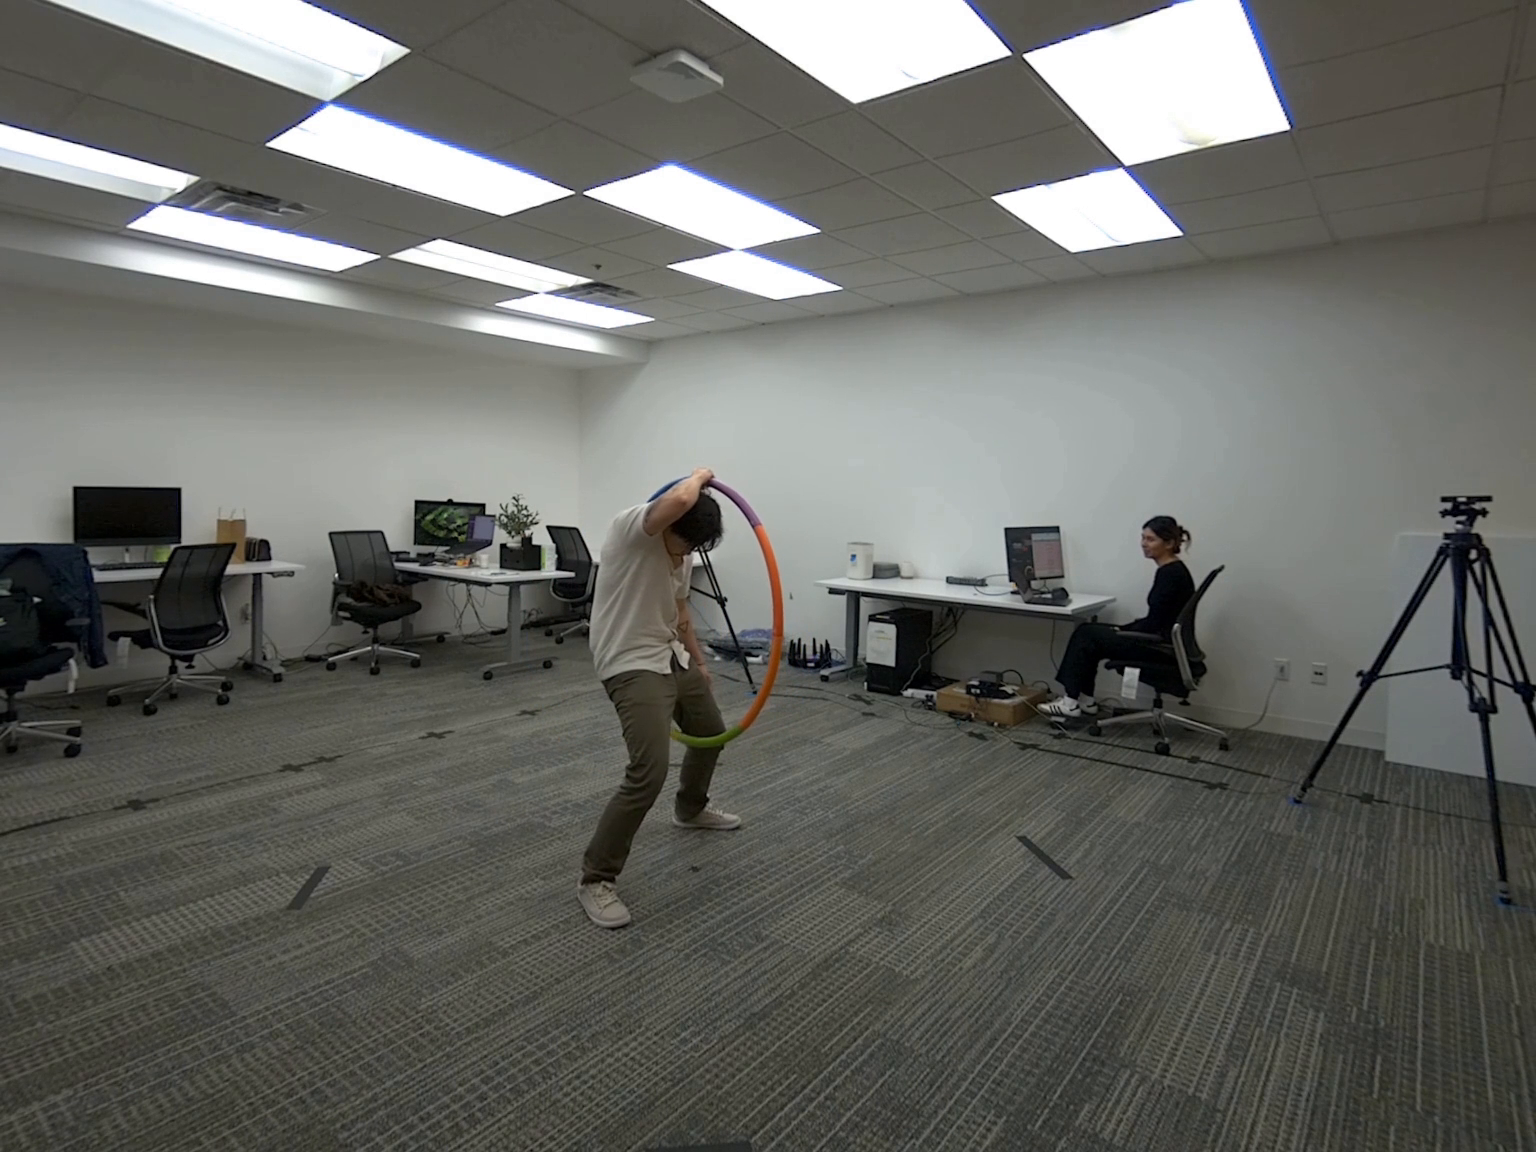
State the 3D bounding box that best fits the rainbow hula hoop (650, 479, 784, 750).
[{"bbox_3d":[-0.303,0.120,3.126,0.034,0.977,1.012,1,3,-42],"label":"rainbow hula hoop"}]
